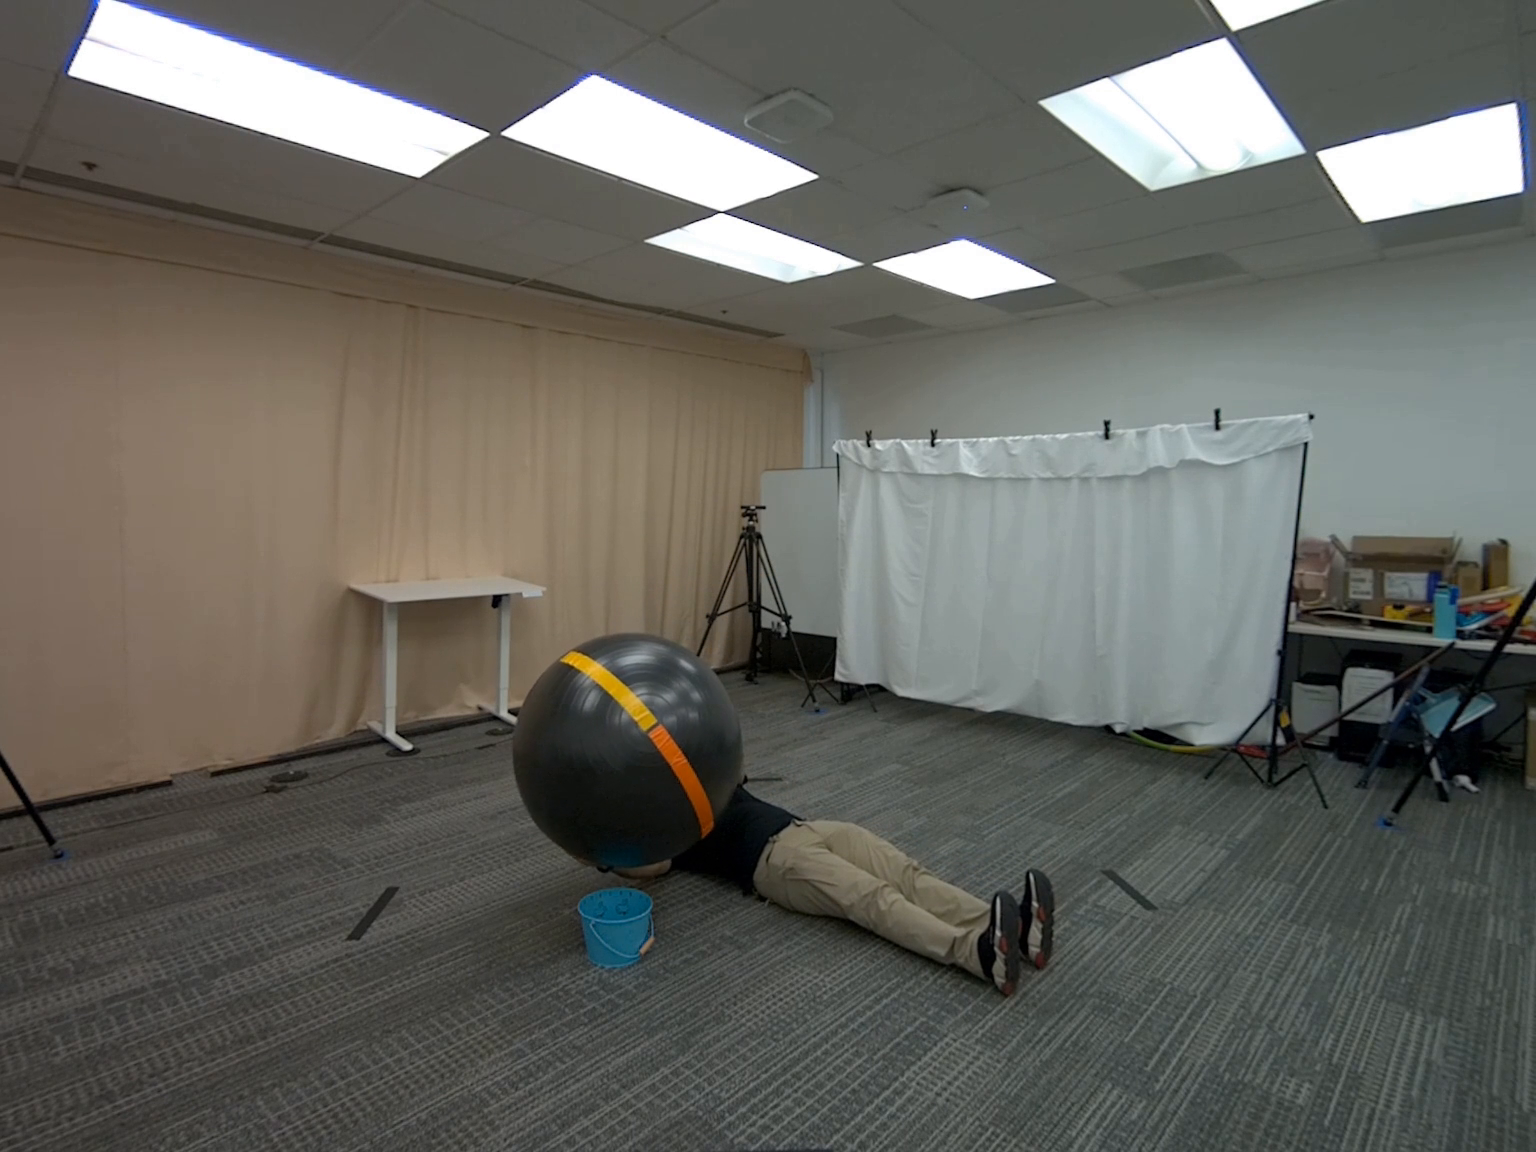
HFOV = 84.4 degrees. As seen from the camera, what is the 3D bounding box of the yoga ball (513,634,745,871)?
[{"bbox_3d":[-0.463,0.569,2.812,0.757,0.756,0.761,0,4,-2],"label":"yoga ball"}]
